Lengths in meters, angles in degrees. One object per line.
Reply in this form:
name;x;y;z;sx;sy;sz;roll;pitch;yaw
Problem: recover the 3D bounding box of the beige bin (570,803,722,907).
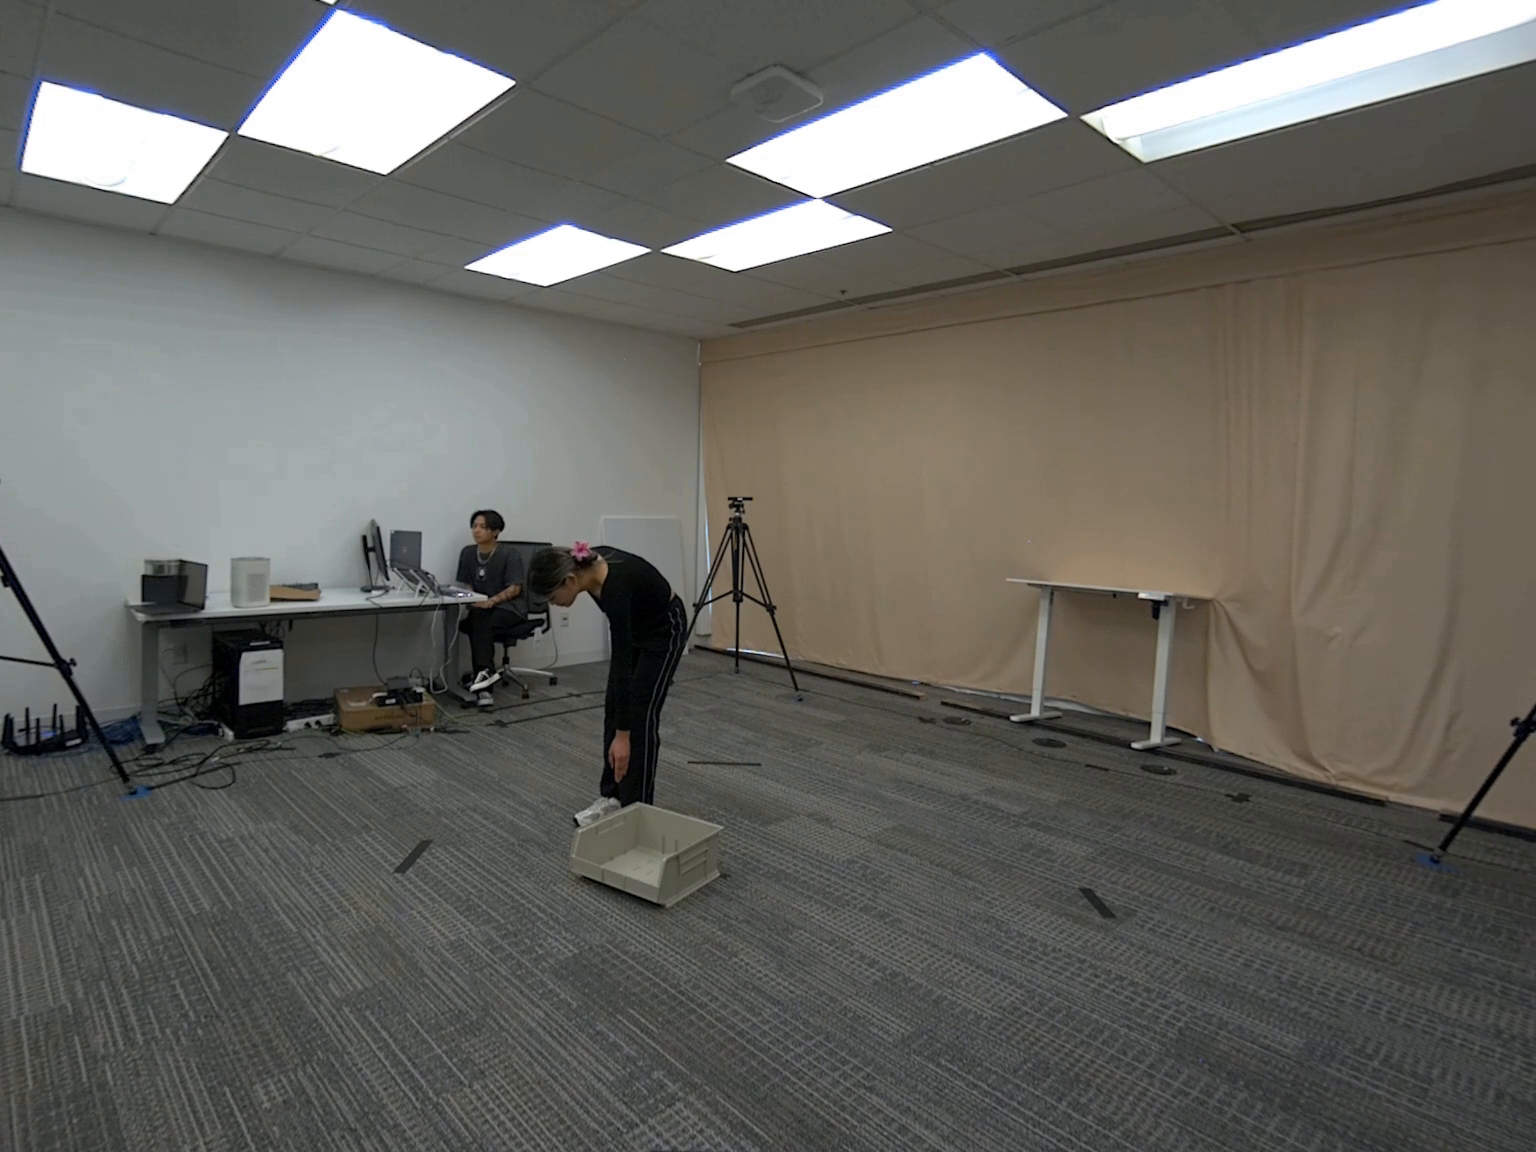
beige bin;-0.445;1.018;3.073;0.432;0.188;0.369;4;5;33
